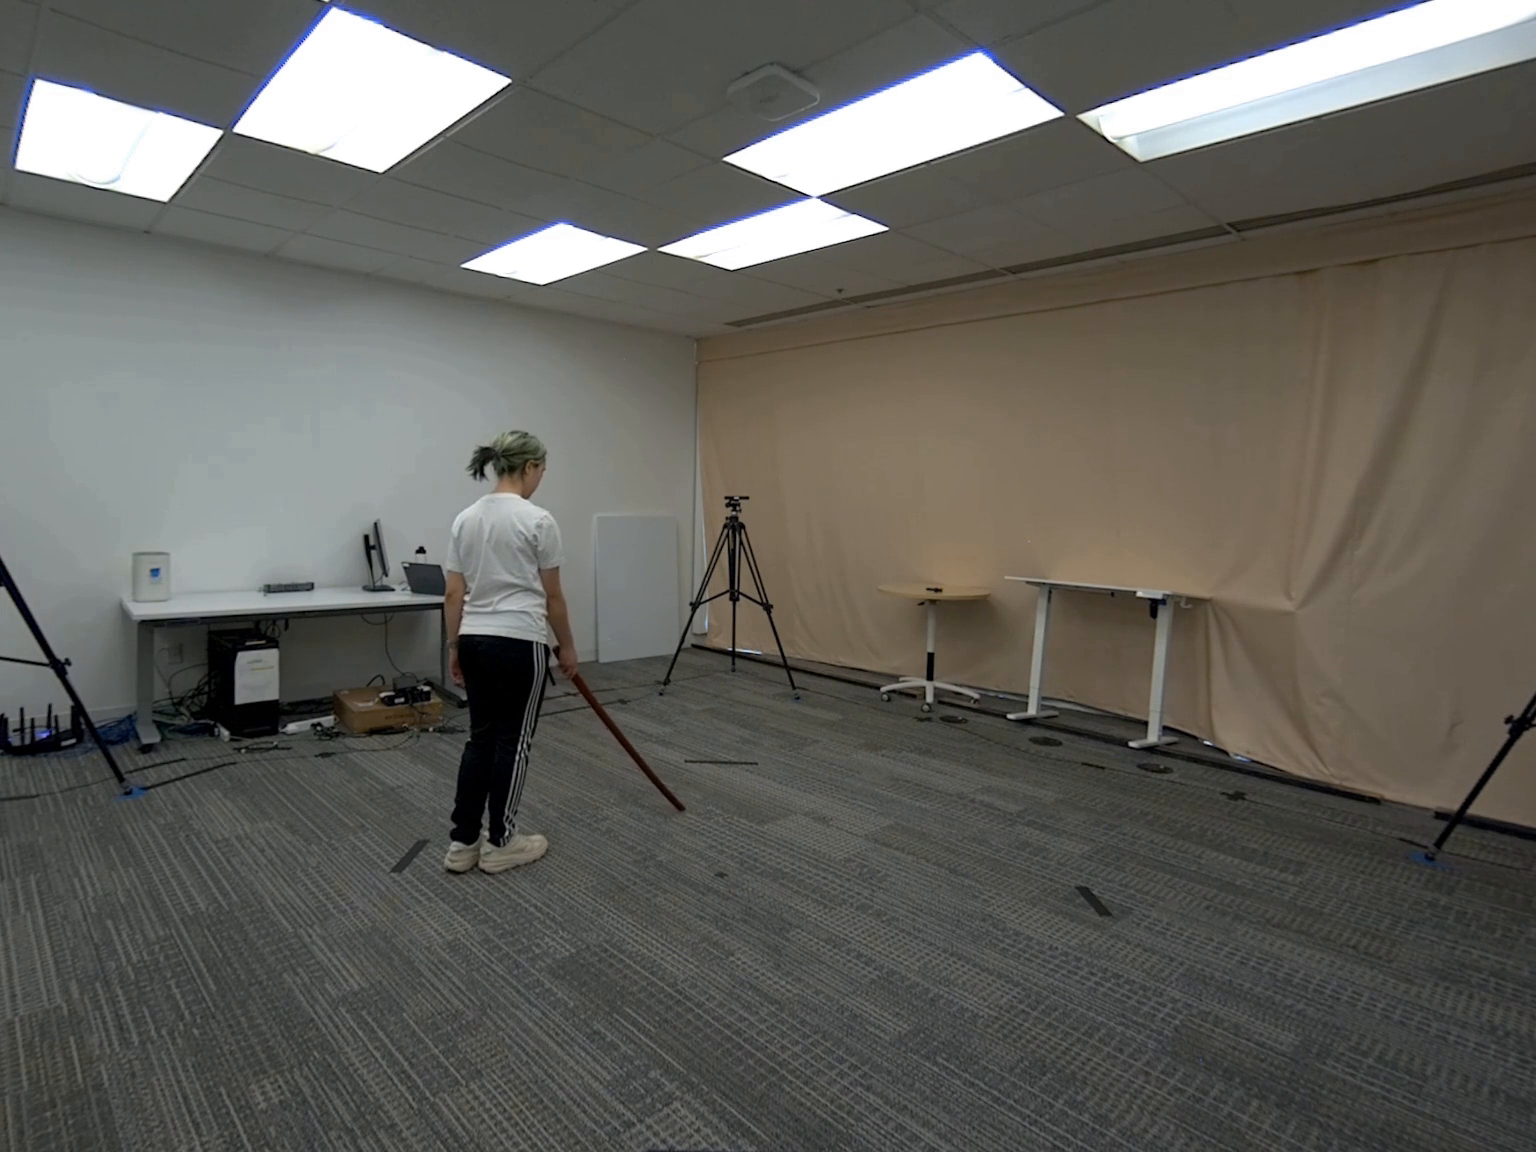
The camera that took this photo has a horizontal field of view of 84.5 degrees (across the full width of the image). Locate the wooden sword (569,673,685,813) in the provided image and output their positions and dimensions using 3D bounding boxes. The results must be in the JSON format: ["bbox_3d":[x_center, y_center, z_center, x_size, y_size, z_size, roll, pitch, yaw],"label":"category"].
[{"bbox_3d":[-0.631,0.671,3.521,0.052,0.998,0.024,-16,33,27],"label":"wooden sword"}]
